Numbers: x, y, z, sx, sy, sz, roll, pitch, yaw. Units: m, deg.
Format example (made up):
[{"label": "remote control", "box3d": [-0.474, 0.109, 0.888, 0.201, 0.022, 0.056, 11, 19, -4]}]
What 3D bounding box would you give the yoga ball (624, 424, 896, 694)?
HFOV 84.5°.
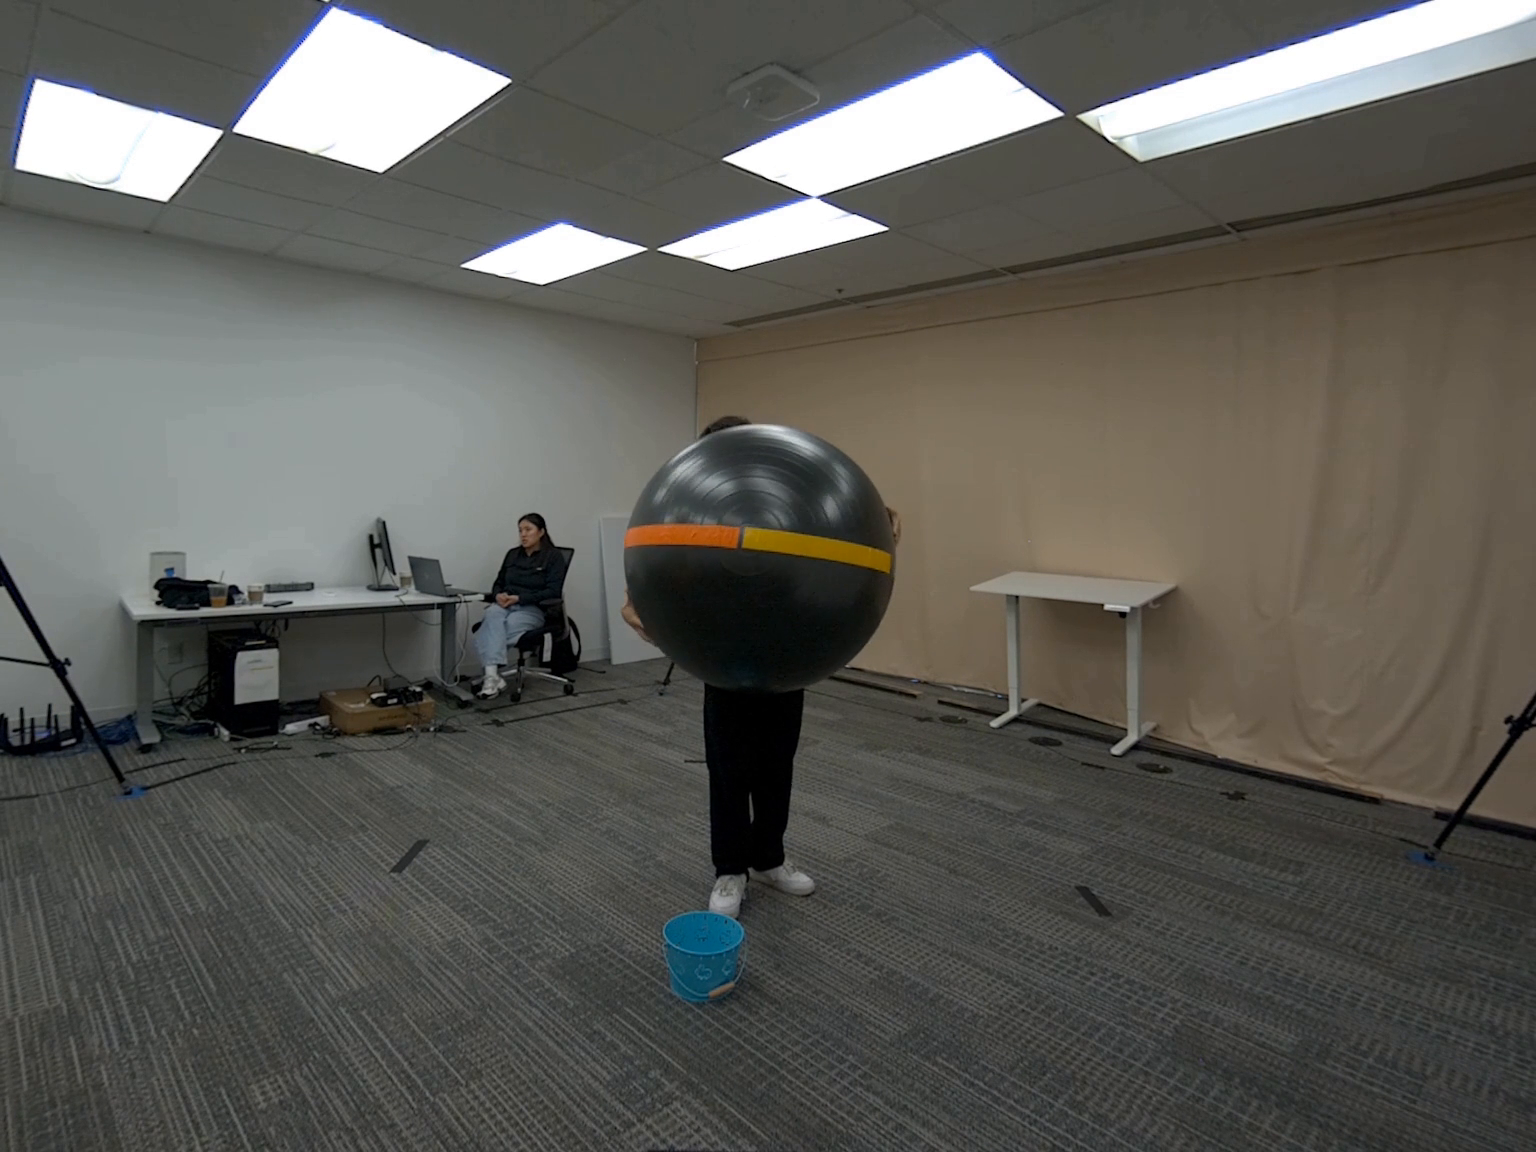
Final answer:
[{"label": "yoga ball", "box3d": [-0.022, -0.040, 2.366, 0.757, 0.756, 0.761, 1, 4, -1]}]
